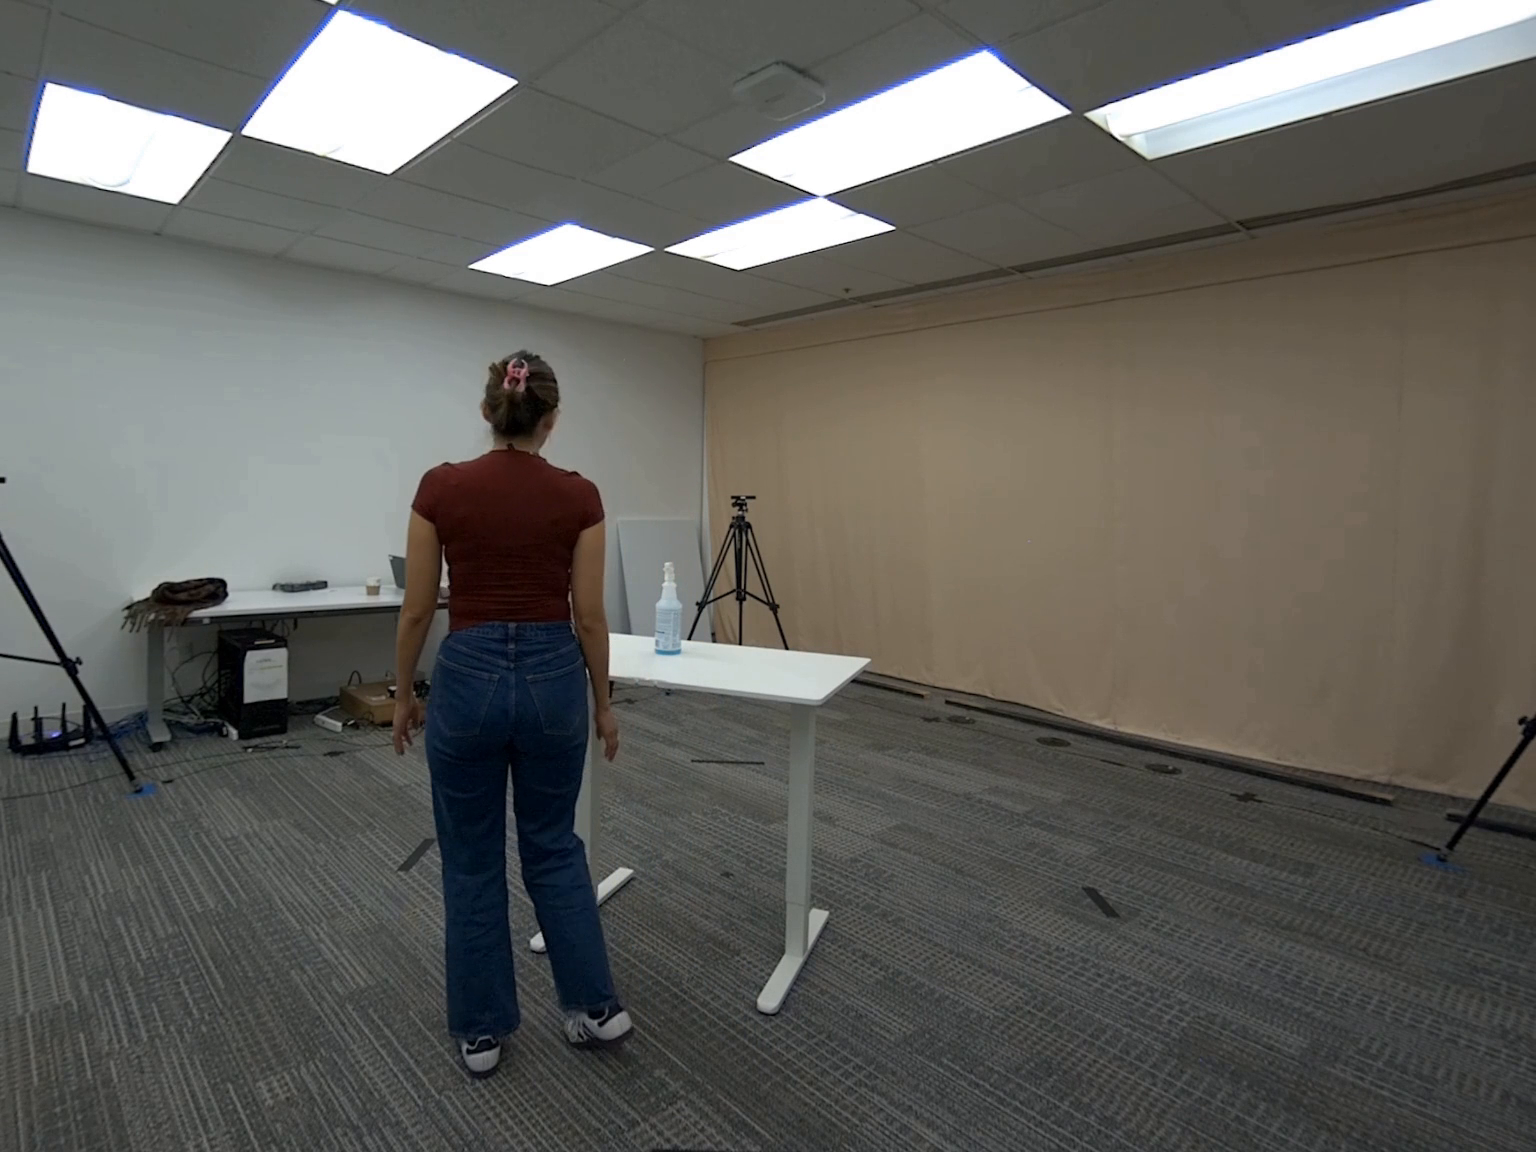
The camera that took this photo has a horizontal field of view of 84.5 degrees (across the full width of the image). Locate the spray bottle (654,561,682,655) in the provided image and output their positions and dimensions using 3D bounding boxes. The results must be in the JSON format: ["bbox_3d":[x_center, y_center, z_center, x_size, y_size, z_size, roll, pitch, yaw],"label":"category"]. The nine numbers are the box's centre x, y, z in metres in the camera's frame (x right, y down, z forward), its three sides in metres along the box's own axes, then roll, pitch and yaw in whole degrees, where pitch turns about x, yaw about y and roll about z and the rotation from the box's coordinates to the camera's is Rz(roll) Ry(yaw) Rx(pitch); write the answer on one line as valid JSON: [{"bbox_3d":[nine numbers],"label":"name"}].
[{"bbox_3d":[-0.331,0.107,2.720,0.089,0.296,0.088,3,6,29],"label":"spray bottle"}]
